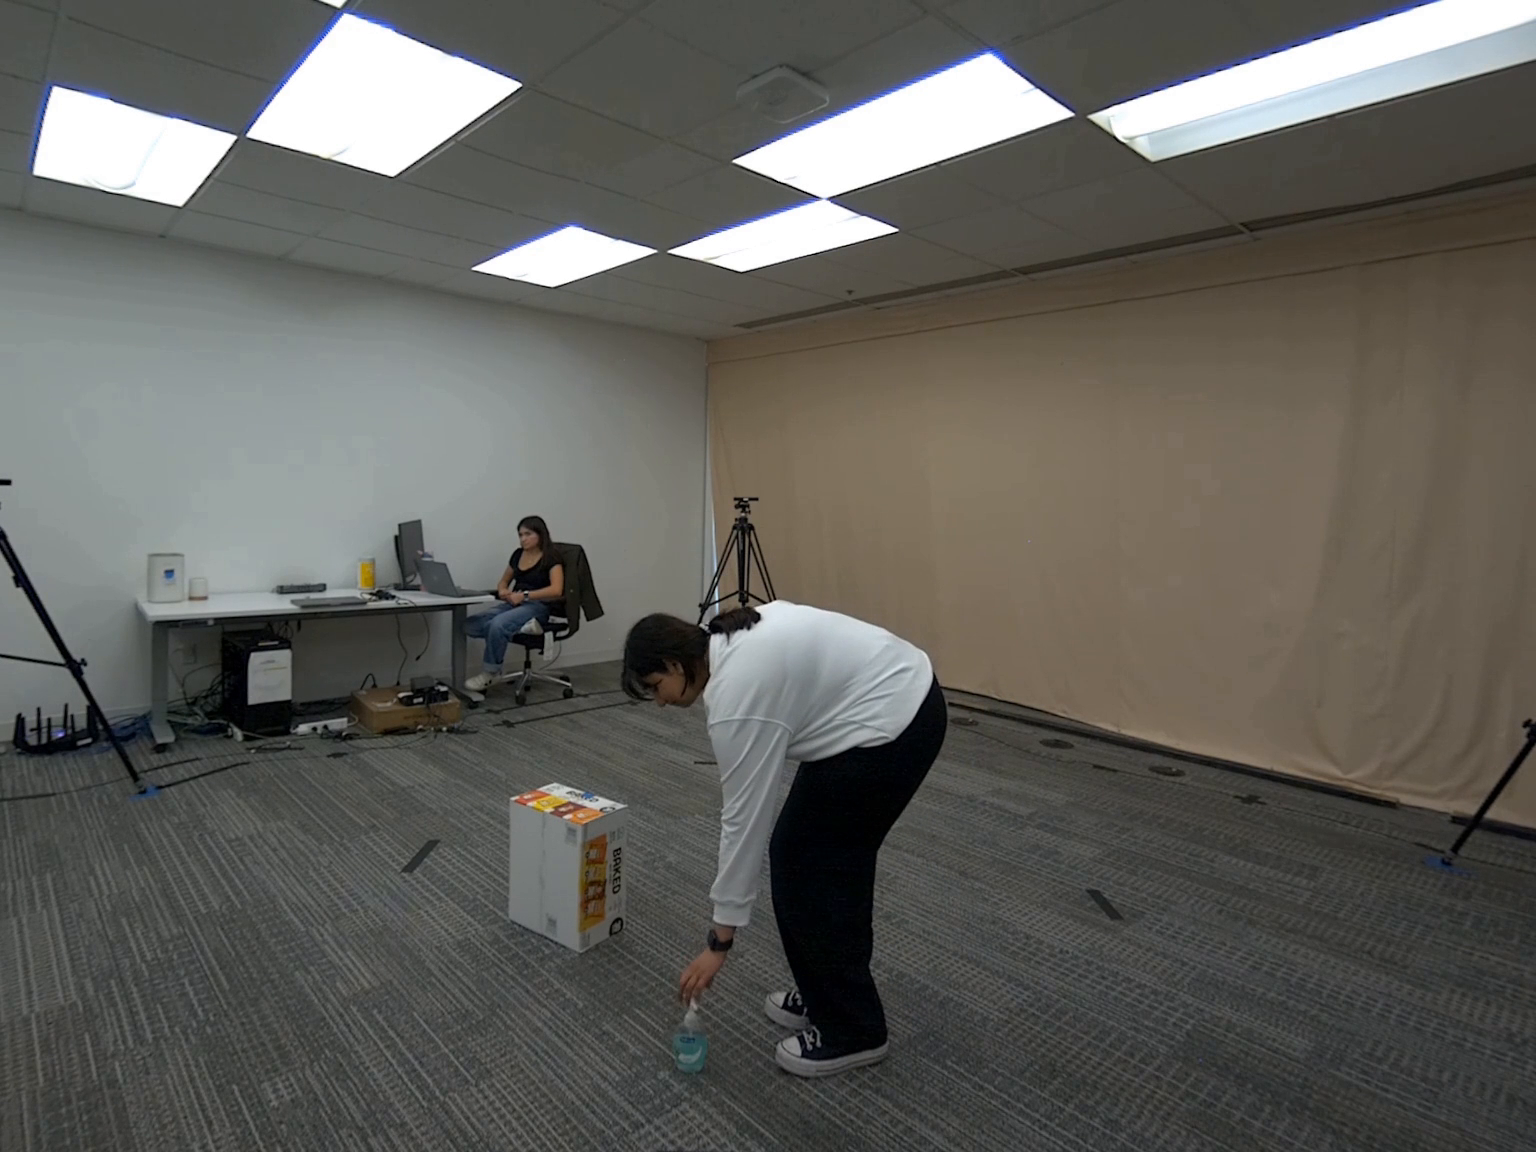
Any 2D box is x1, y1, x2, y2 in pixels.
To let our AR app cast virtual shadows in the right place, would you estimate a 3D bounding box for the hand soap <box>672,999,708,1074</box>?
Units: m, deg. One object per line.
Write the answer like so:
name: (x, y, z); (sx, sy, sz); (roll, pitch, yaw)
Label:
hand soap: (-0.187, 1.119, 2.054); (0.085, 0.167, 0.043); (3, 7, 5)
